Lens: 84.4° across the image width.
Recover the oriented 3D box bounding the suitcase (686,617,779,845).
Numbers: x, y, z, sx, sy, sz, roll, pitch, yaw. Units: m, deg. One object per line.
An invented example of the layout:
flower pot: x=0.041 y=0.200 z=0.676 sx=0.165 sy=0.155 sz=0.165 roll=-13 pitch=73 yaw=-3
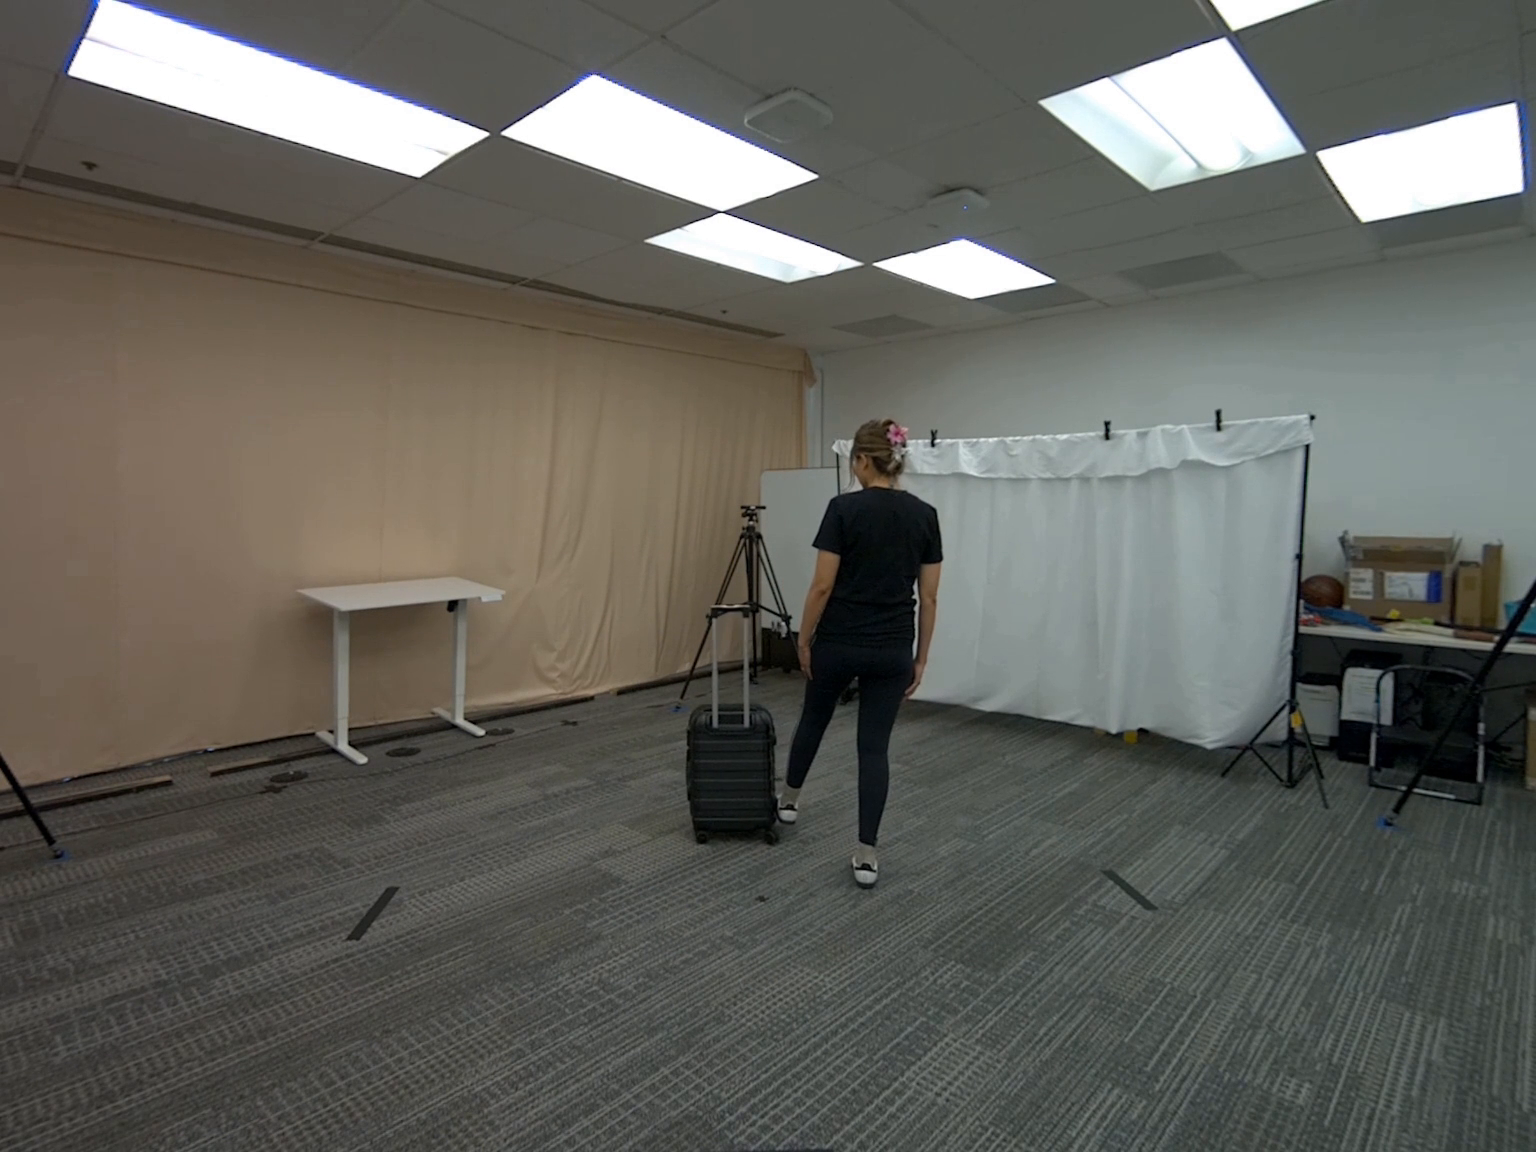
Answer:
suitcase: x=-0.157 y=0.614 z=3.571 sx=0.384 sy=0.977 sz=0.257 roll=0 pitch=2 yaw=0
